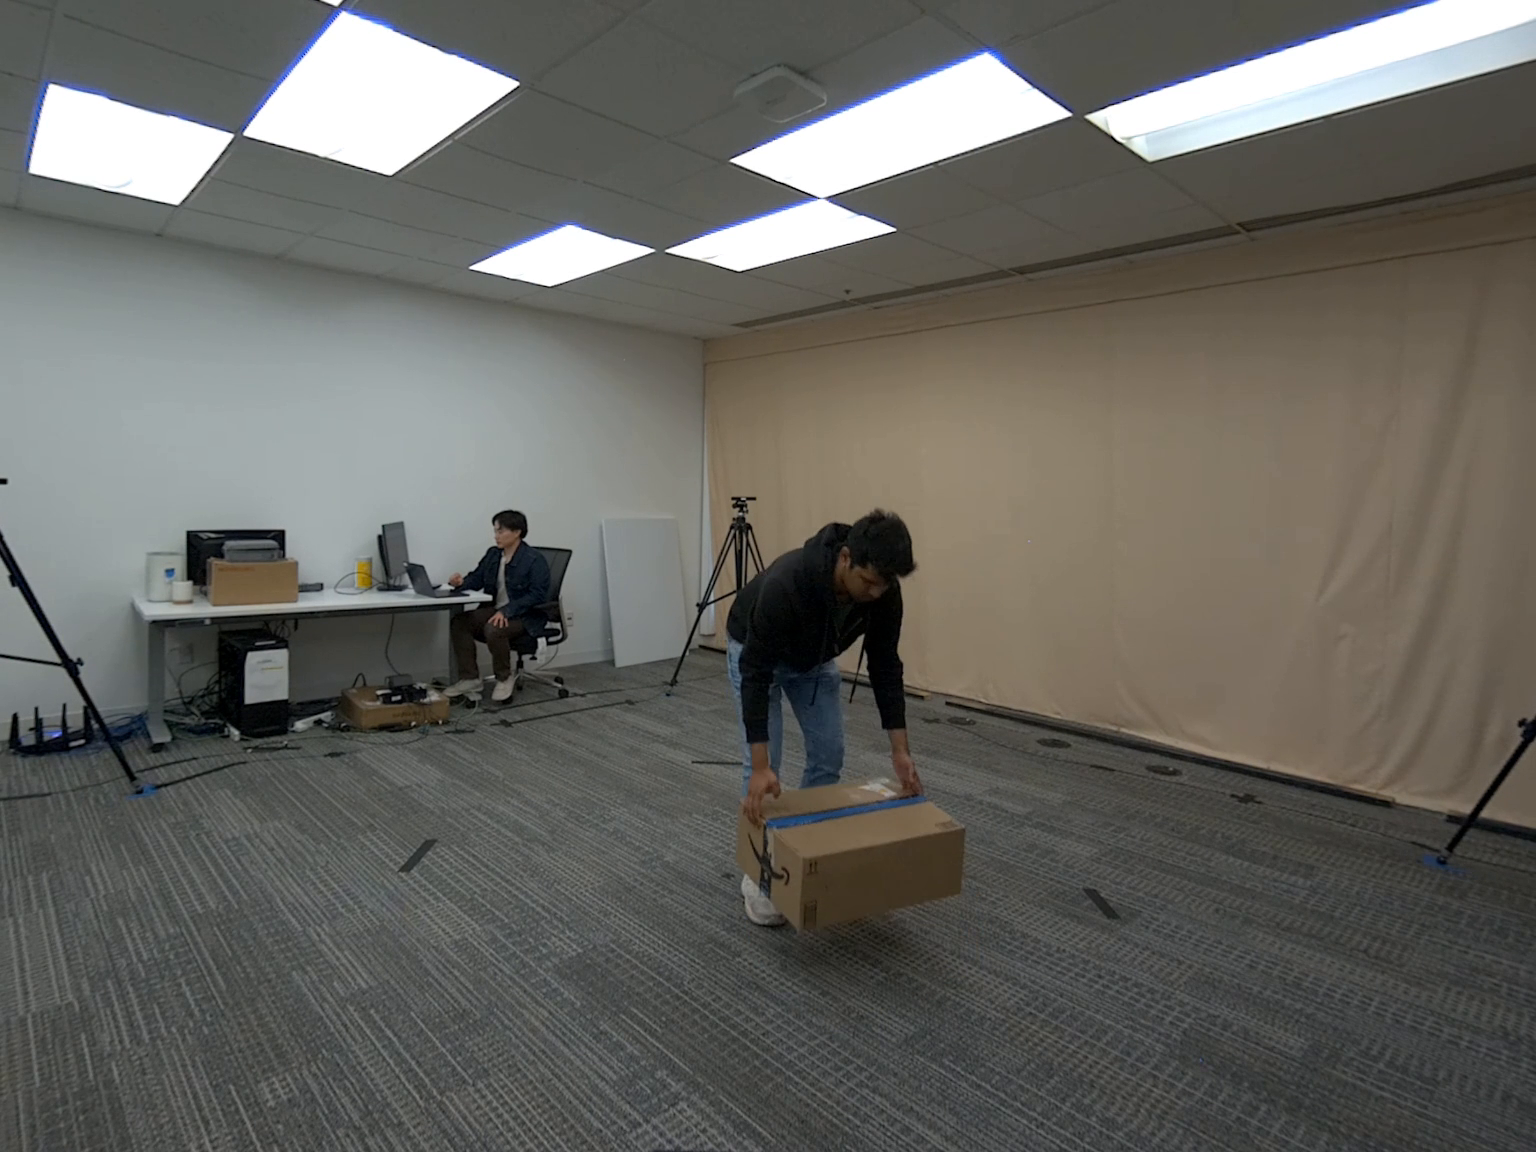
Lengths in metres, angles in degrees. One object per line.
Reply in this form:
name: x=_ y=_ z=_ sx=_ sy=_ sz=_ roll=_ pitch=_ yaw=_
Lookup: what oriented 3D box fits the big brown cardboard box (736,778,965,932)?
big brown cardboard box: x=0.241 y=0.824 z=2.581 sx=0.578 sy=0.232 sz=0.427 roll=-1 pitch=9 yaw=-26
